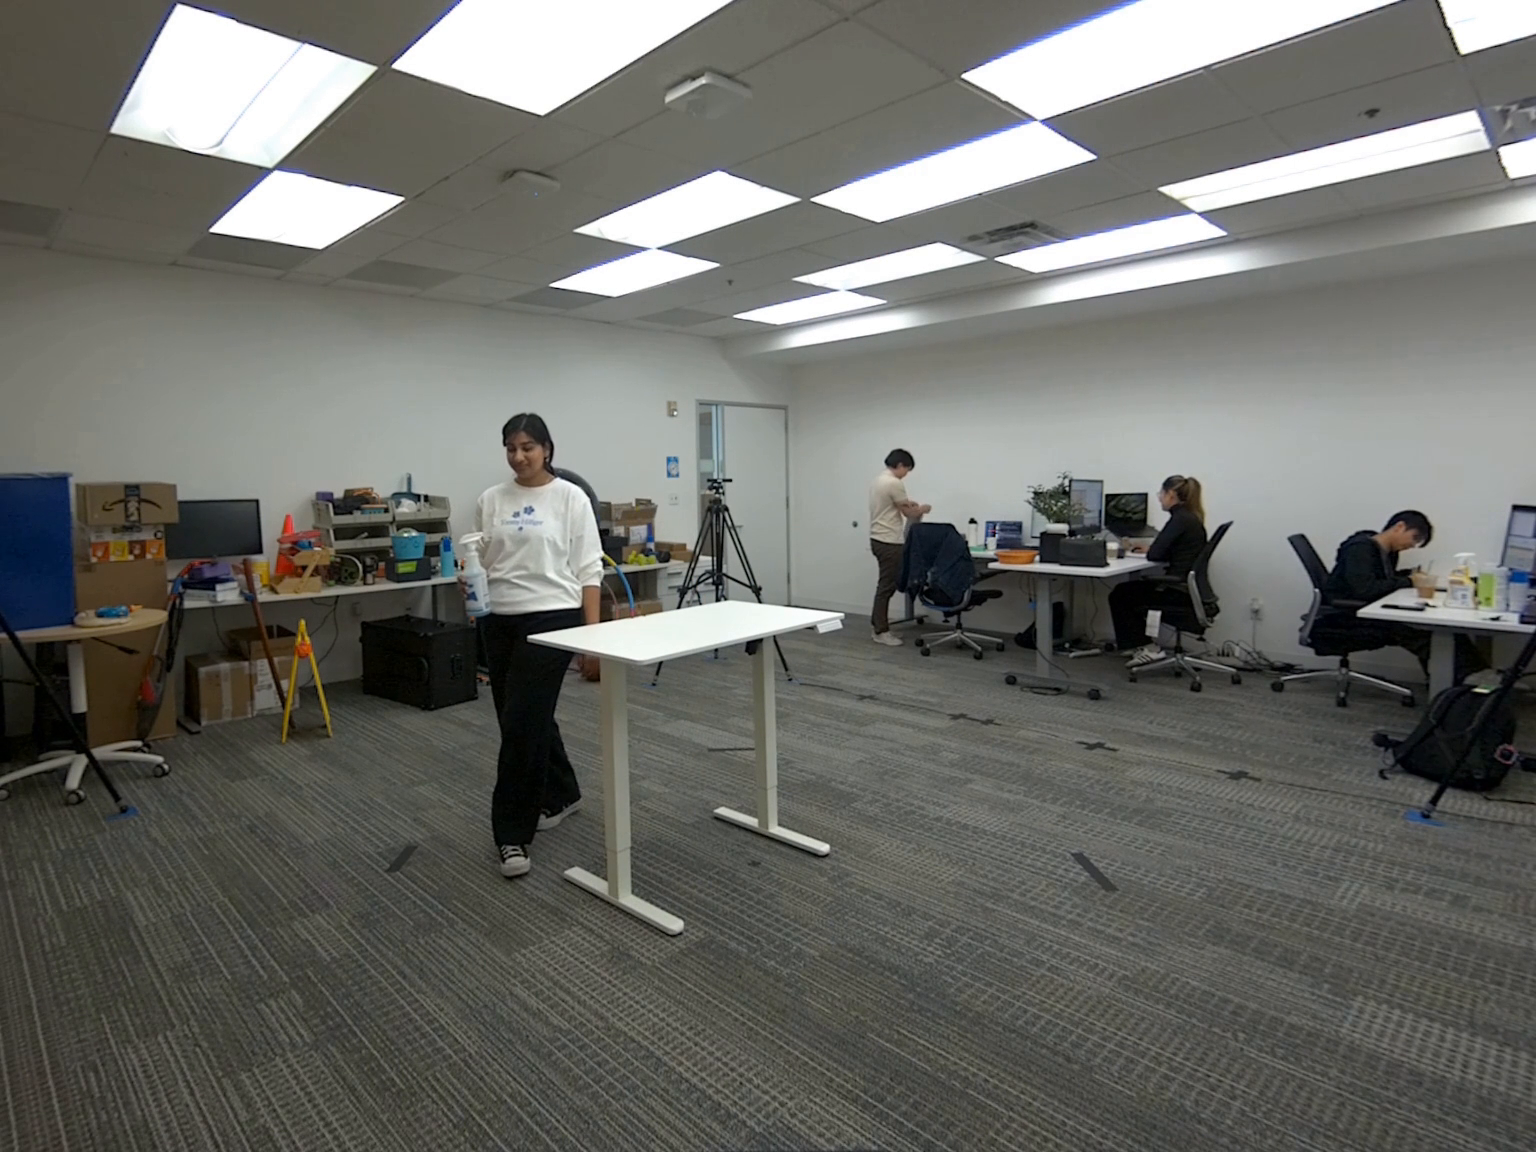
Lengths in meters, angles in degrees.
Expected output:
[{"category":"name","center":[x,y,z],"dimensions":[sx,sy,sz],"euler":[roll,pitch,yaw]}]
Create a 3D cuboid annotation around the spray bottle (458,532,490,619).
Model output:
[{"category":"spray bottle","center":[-1.063,-0.004,3.081],"dimensions":[0.089,0.295,0.088],"euler":[-2,8,-8]}]
